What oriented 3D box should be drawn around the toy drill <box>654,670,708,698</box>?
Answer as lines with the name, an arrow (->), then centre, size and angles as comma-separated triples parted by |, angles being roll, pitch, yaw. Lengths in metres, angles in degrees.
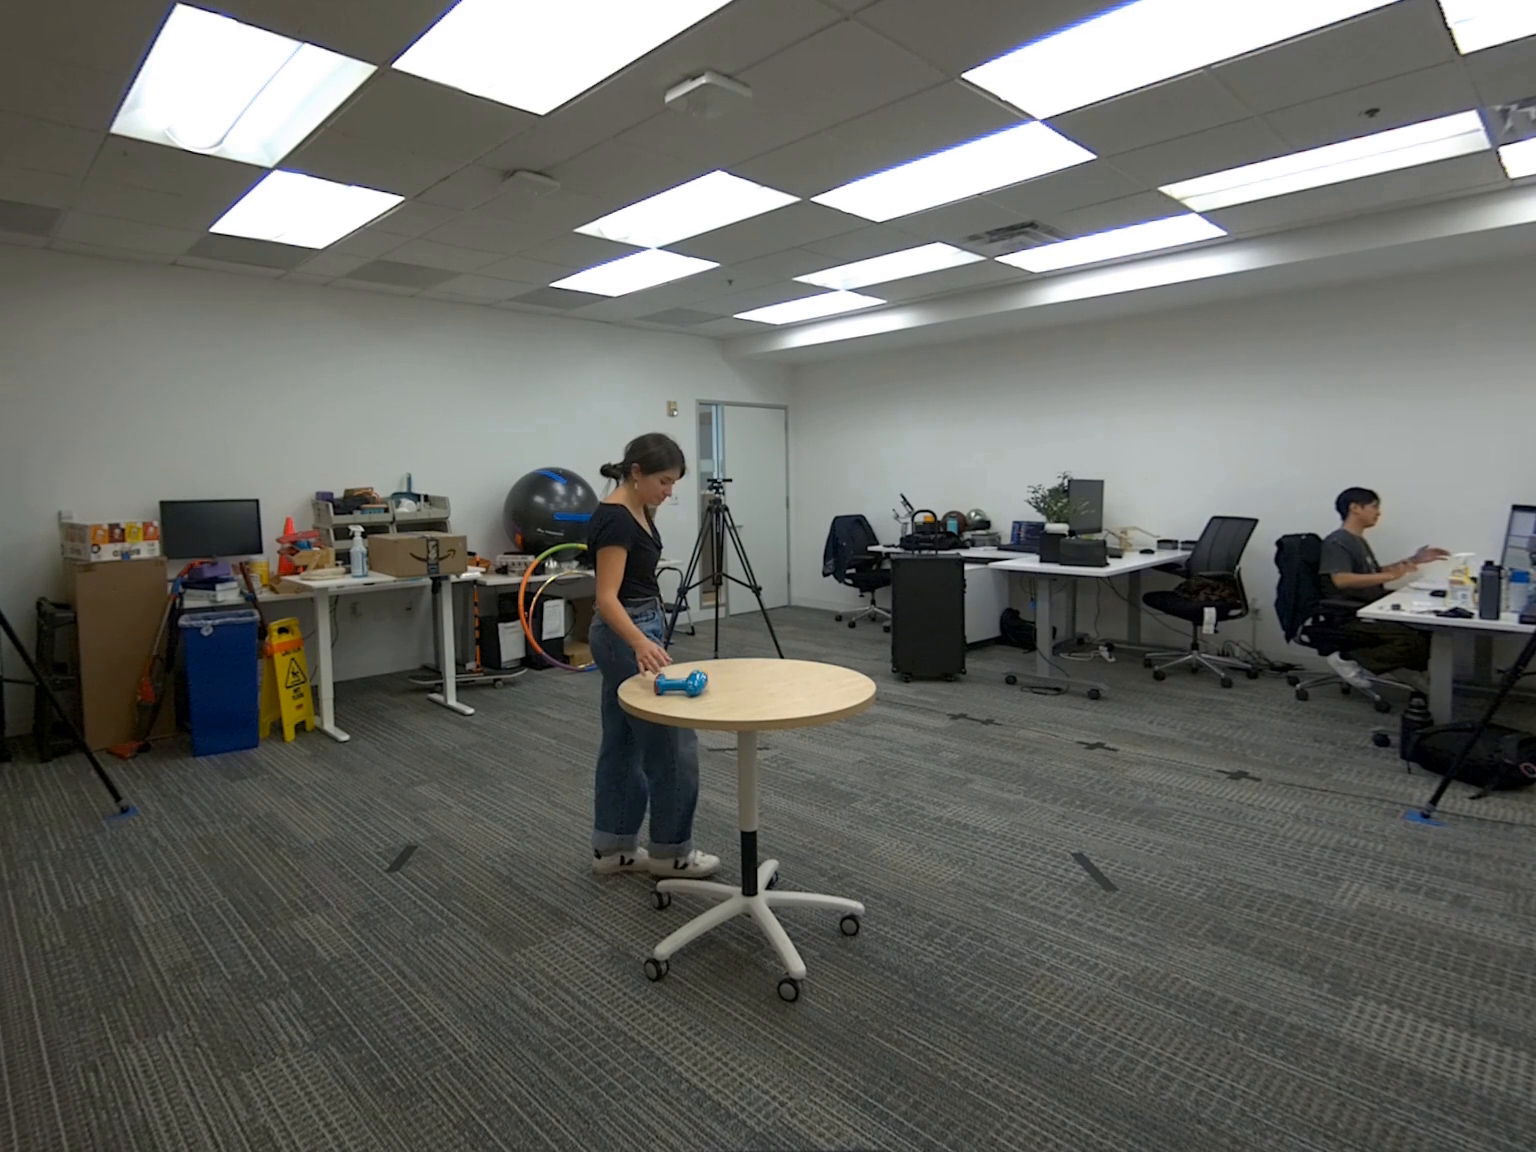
toy drill -> -0.240, 0.309, 2.486 | 0.147, 0.060, 0.170 | -3, 14, 9
